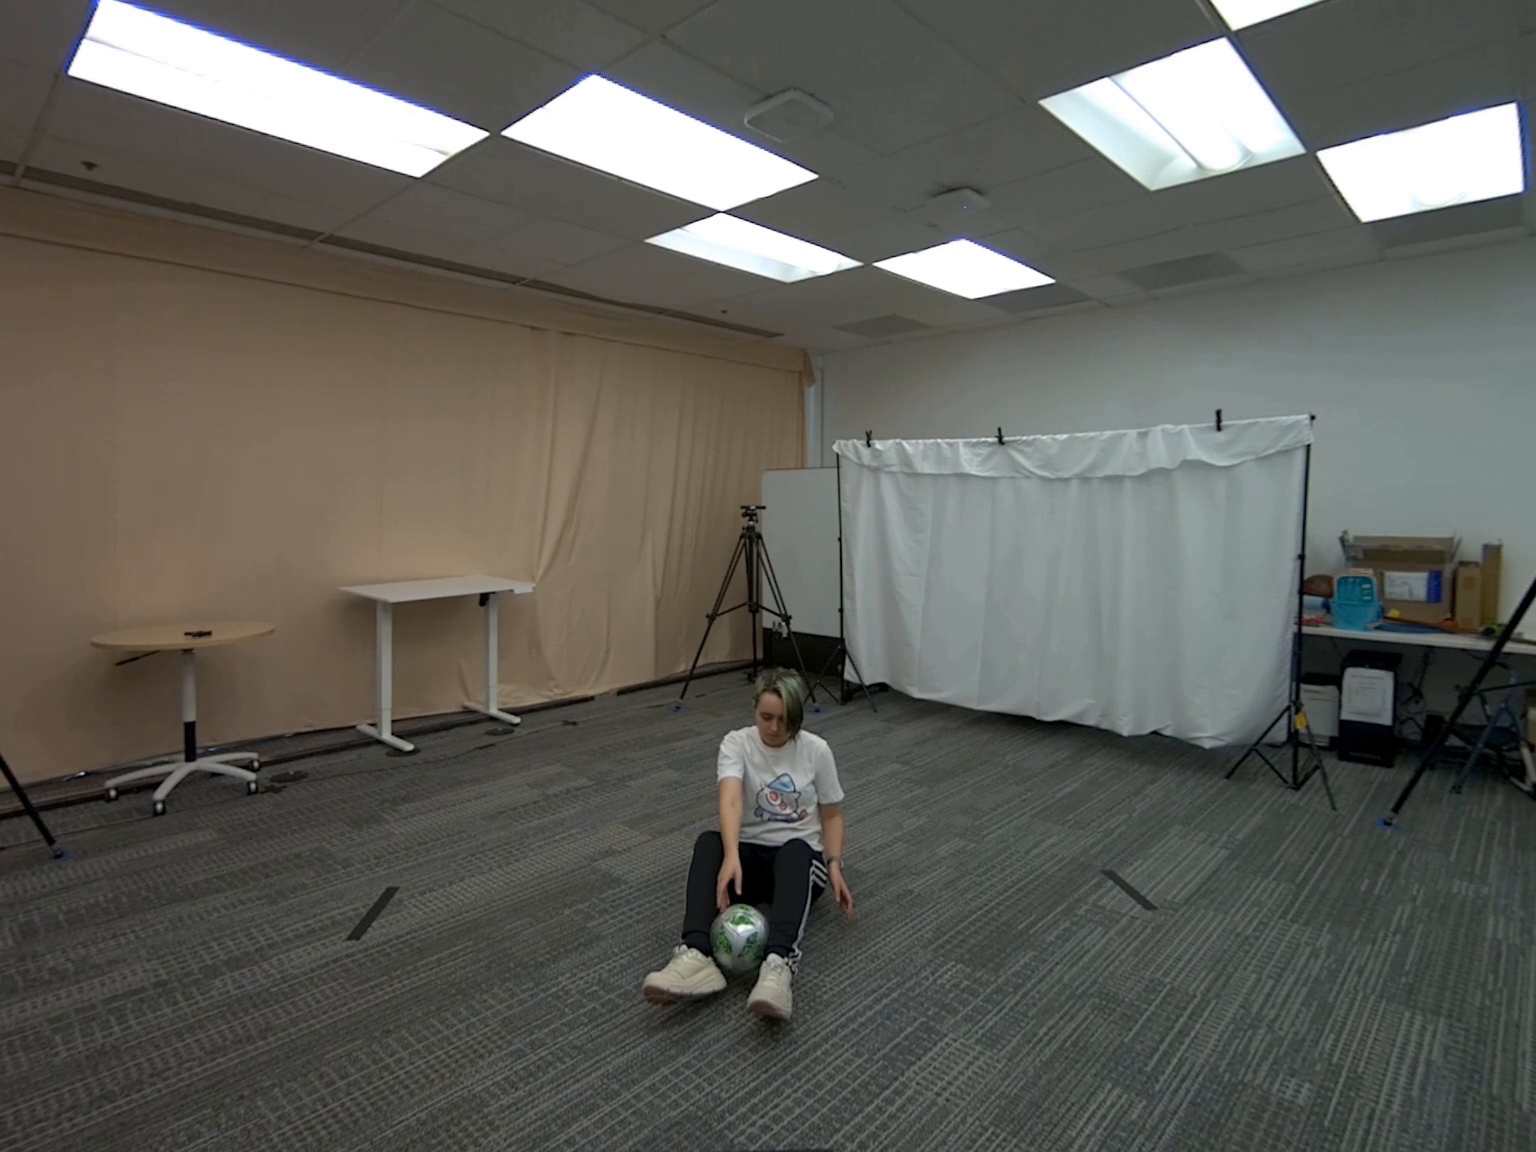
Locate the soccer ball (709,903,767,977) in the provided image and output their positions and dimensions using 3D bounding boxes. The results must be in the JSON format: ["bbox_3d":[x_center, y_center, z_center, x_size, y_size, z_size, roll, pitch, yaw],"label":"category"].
[{"bbox_3d":[-0.071,1.059,2.455,0.187,0.187,0.188,0,4,-2],"label":"soccer ball"}]
